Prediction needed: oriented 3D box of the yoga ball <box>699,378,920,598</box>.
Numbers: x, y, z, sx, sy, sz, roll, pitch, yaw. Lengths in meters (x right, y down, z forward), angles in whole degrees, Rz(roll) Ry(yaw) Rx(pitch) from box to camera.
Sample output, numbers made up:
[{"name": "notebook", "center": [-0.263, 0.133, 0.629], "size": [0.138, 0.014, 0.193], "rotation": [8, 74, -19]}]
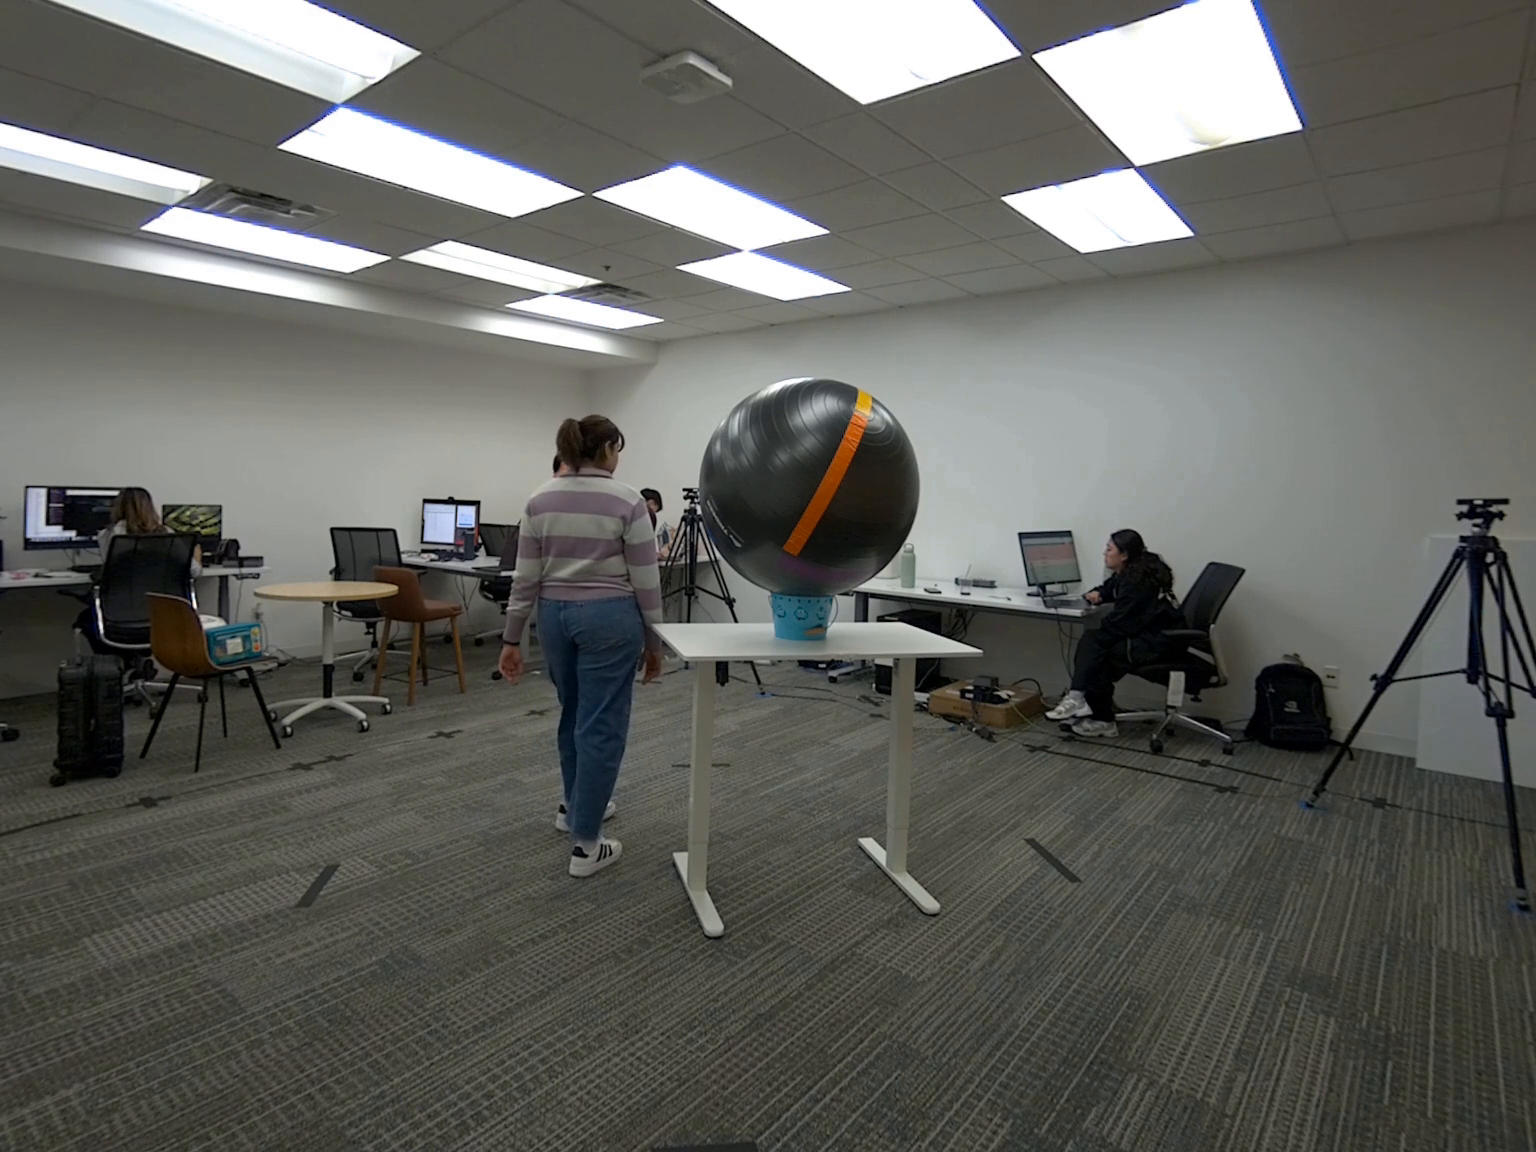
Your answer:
[{"name": "yoga ball", "center": [0.138, -0.302, 2.934], "size": [0.757, 0.755, 0.762], "rotation": [1, 4, -2]}]
